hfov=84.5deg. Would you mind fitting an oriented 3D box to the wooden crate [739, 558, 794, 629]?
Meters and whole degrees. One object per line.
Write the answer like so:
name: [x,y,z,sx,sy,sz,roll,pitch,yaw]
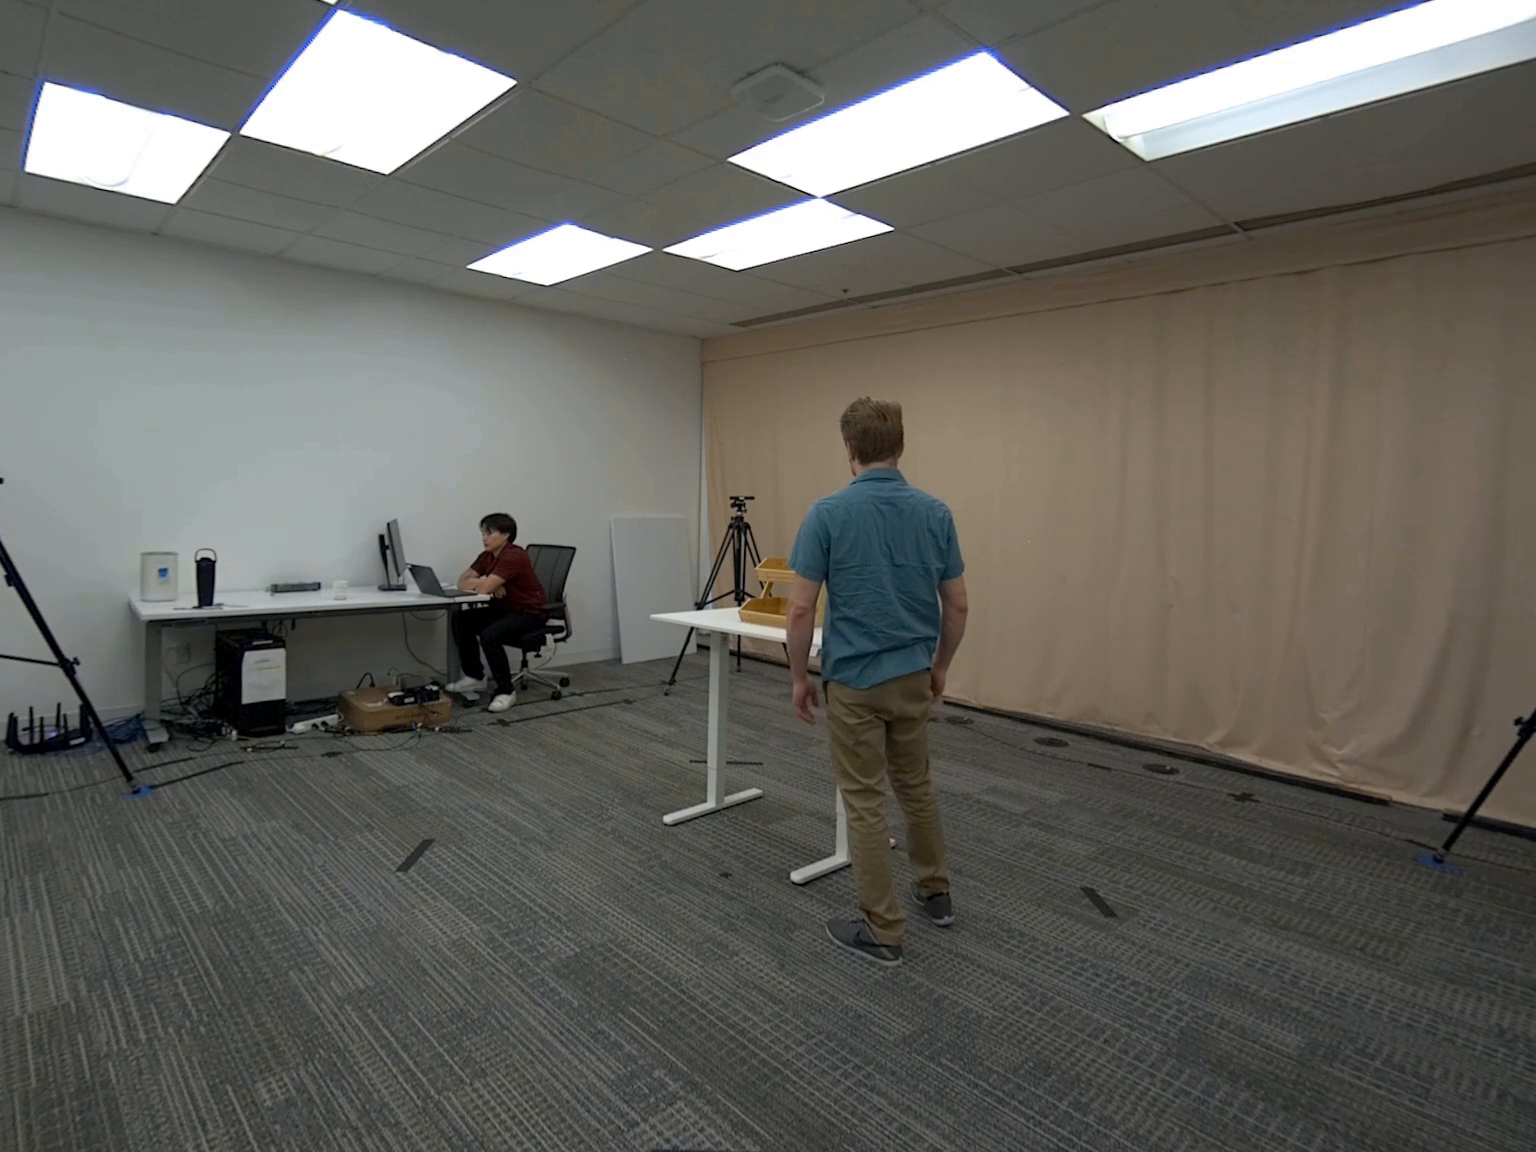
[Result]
wooden crate: [0.086,0.063,3.468,0.295,0.273,0.333,-1,4,-45]
